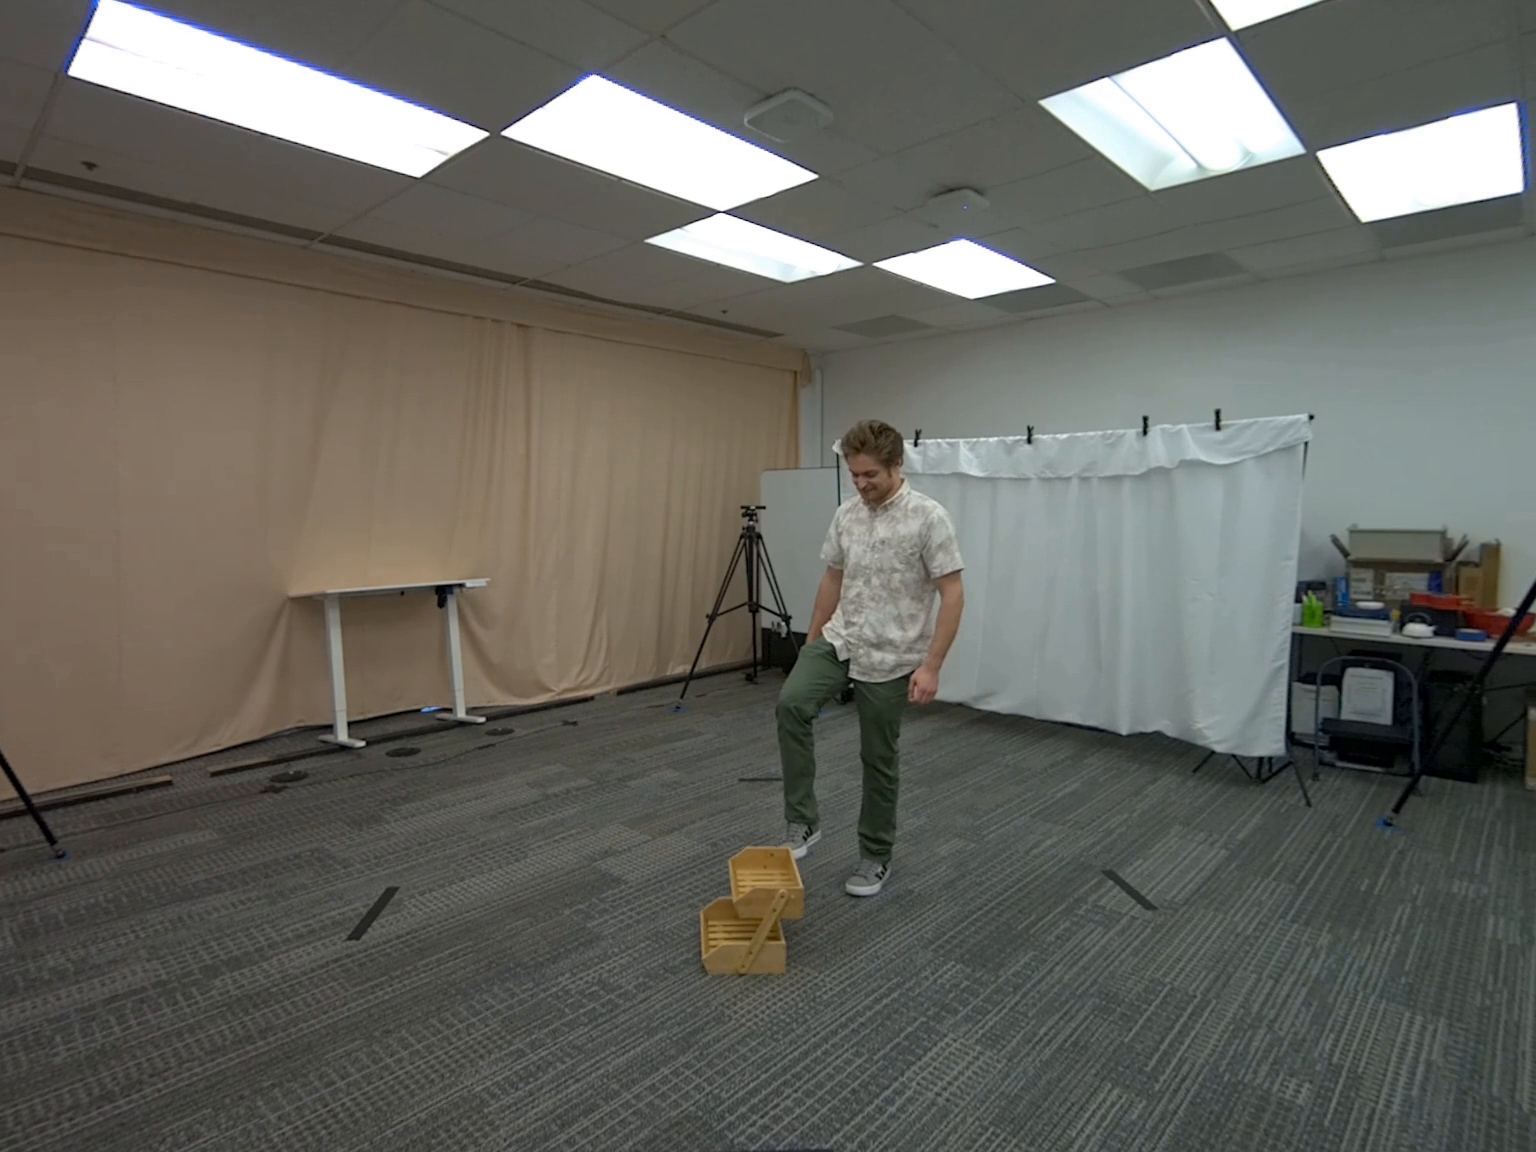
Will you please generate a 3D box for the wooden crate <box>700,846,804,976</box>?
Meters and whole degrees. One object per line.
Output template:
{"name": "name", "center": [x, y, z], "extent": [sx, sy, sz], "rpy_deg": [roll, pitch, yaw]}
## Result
{"name": "wooden crate", "center": [-0.061, 1.040, 2.643], "extent": [0.301, 0.273, 0.327], "rpy_deg": [0, 4, -5]}
